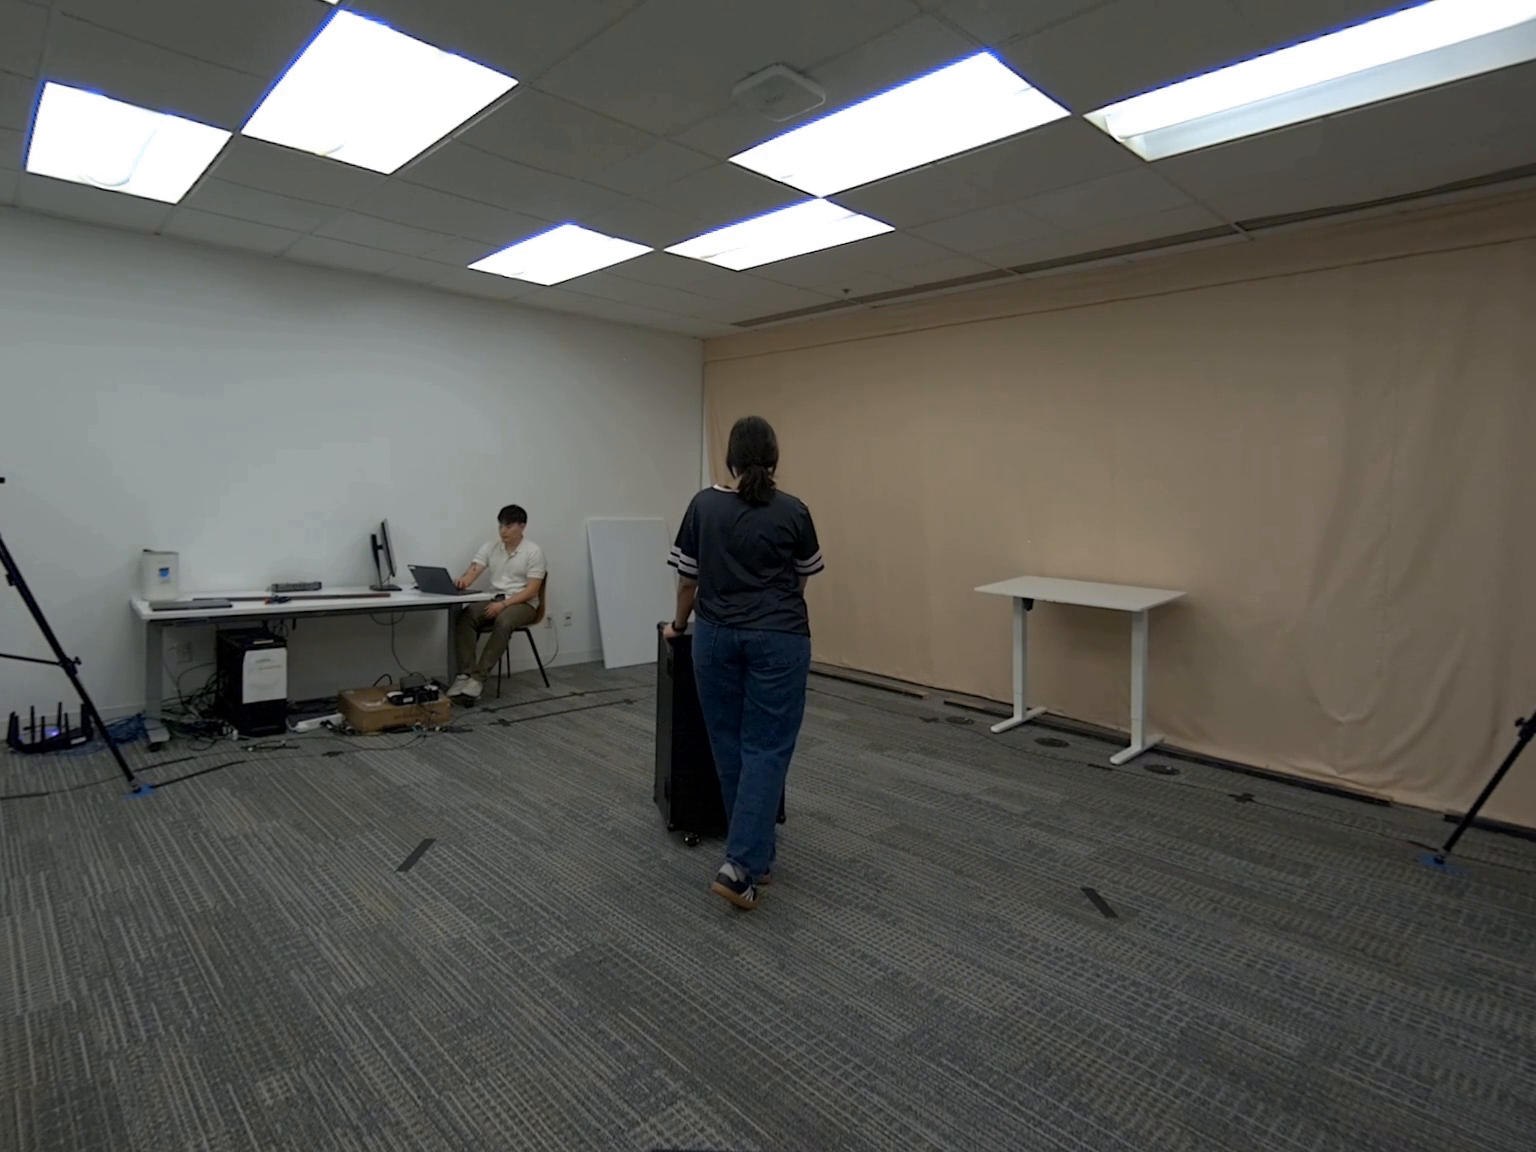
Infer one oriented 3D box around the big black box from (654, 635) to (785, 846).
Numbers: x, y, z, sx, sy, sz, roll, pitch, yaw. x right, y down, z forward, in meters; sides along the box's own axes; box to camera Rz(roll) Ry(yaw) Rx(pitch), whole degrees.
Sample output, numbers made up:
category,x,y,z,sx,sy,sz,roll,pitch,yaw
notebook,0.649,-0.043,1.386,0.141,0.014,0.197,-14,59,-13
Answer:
category,x,y,z,sx,sy,sz,roll,pitch,yaw
big black box,-0.219,0.643,3.538,0.517,0.867,0.391,1,3,-16
